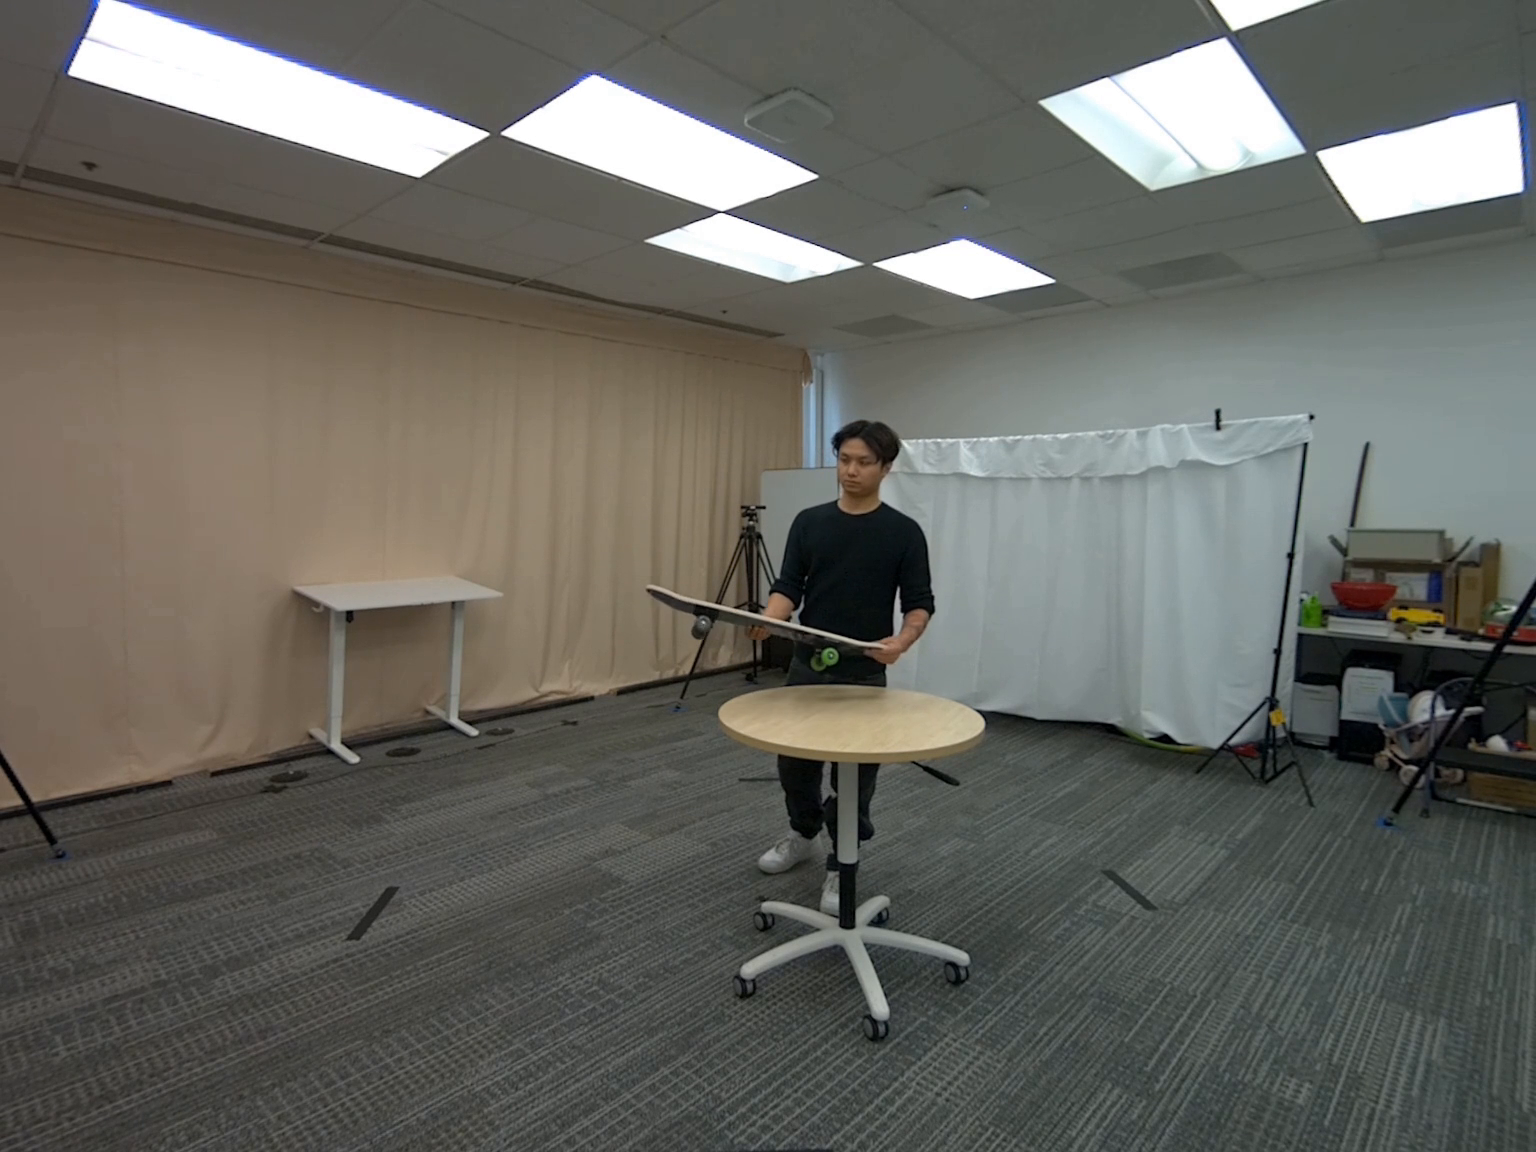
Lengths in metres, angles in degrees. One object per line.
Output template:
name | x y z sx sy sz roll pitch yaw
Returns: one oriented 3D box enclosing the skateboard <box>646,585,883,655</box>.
skateboard | 0.002 0.192 2.633 0.785 0.111 0.192 15 -14 -1
